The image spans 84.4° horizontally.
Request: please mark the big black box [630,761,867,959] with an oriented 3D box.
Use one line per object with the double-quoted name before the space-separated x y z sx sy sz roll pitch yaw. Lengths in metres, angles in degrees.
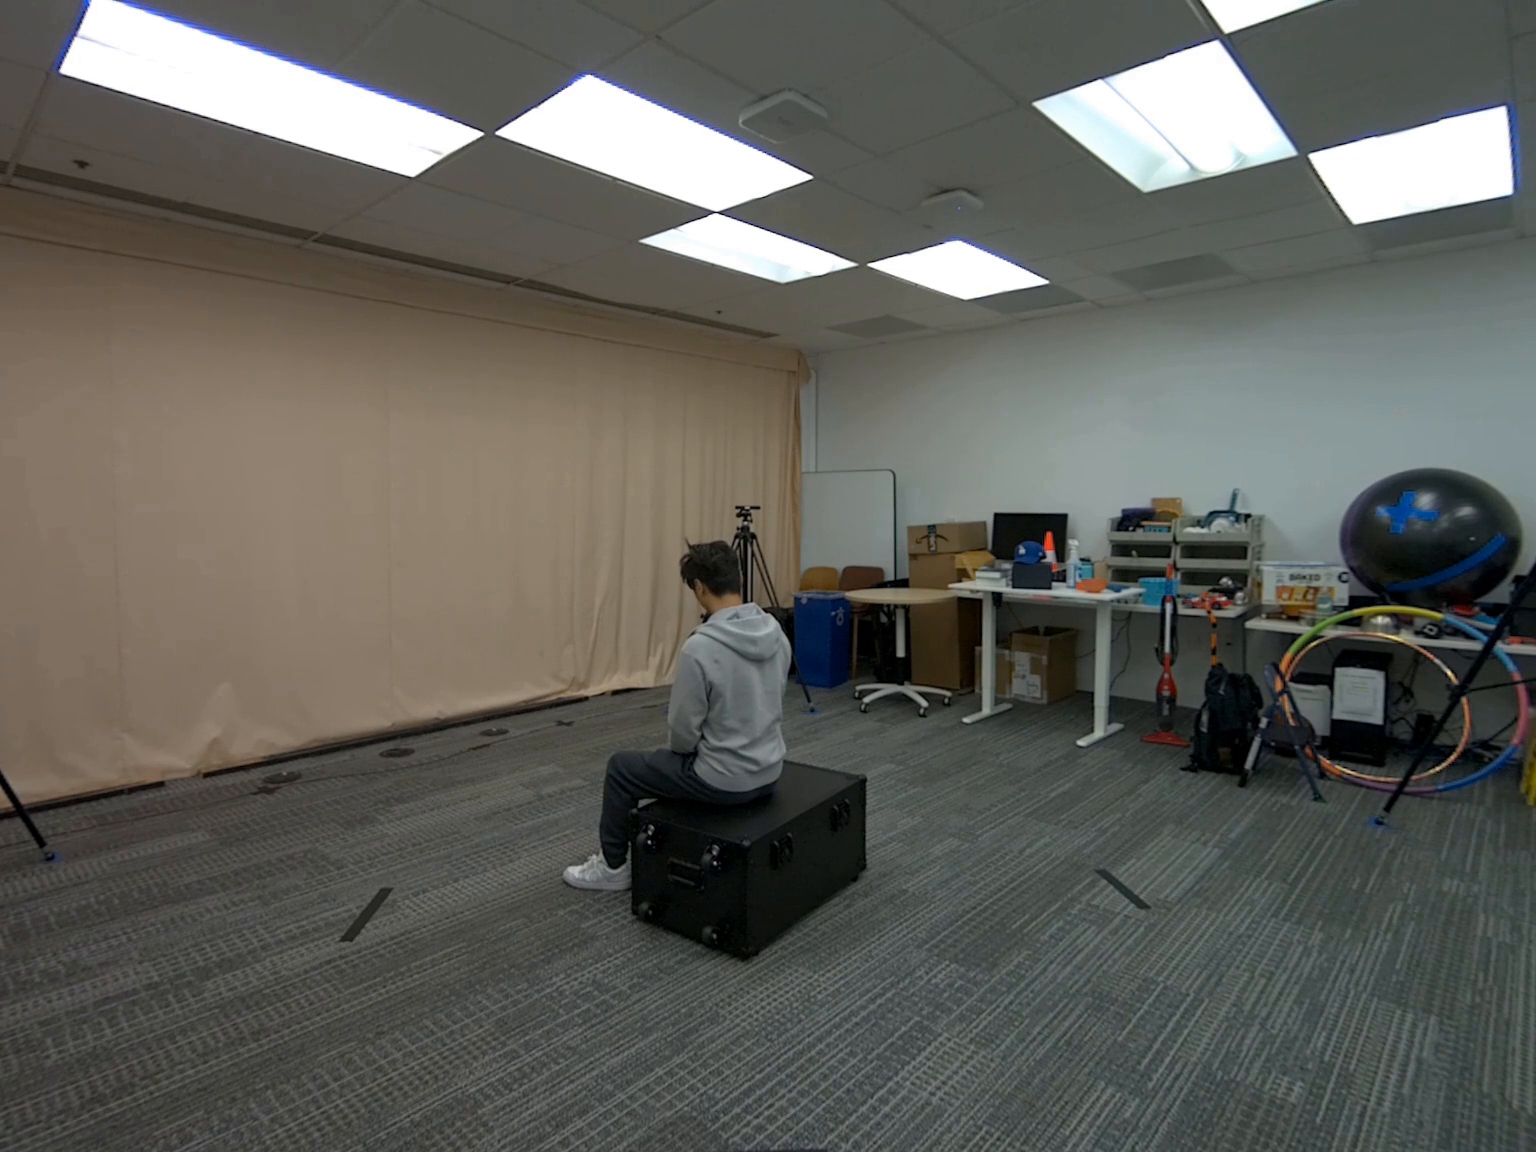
"big black box" -0.018 0.957 3.010 0.538 0.395 0.836 3 6 36
